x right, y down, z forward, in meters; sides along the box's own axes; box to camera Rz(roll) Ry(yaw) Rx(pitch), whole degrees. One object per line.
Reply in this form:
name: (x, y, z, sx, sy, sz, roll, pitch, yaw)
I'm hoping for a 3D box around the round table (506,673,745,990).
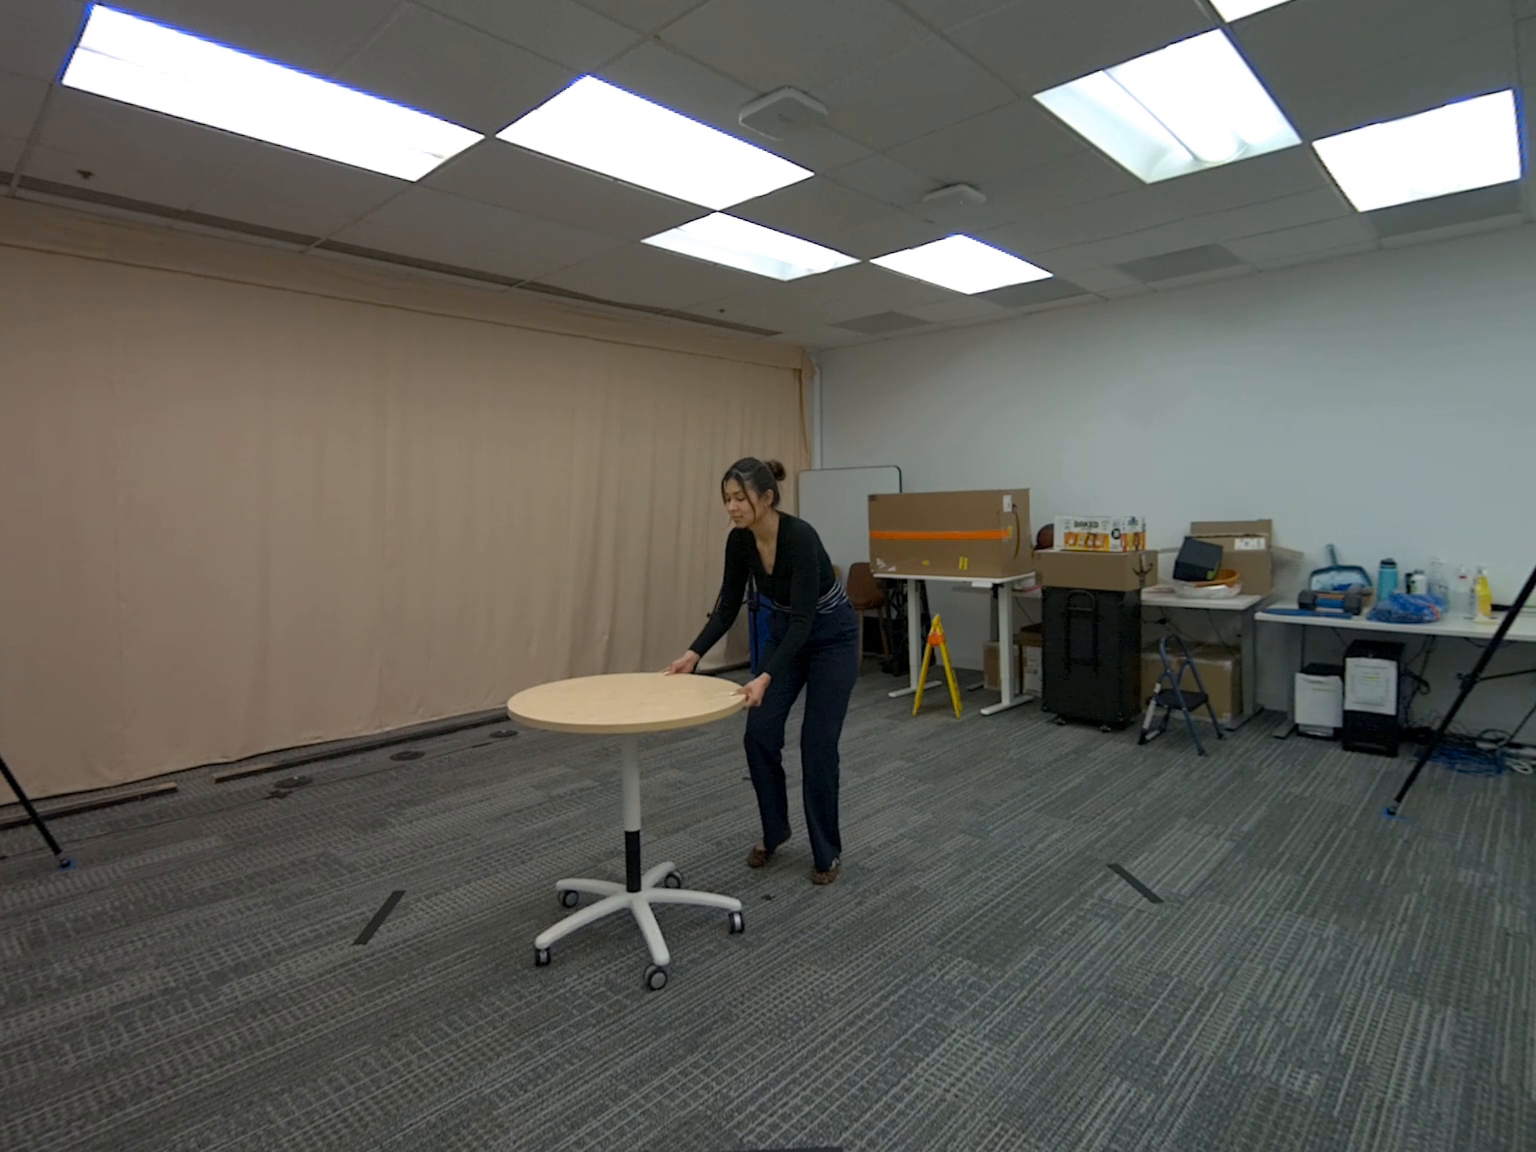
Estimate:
round table: (-0.441, 0.779, 2.748, 0.763, 0.792, 0.766, -2, 3, -2)
